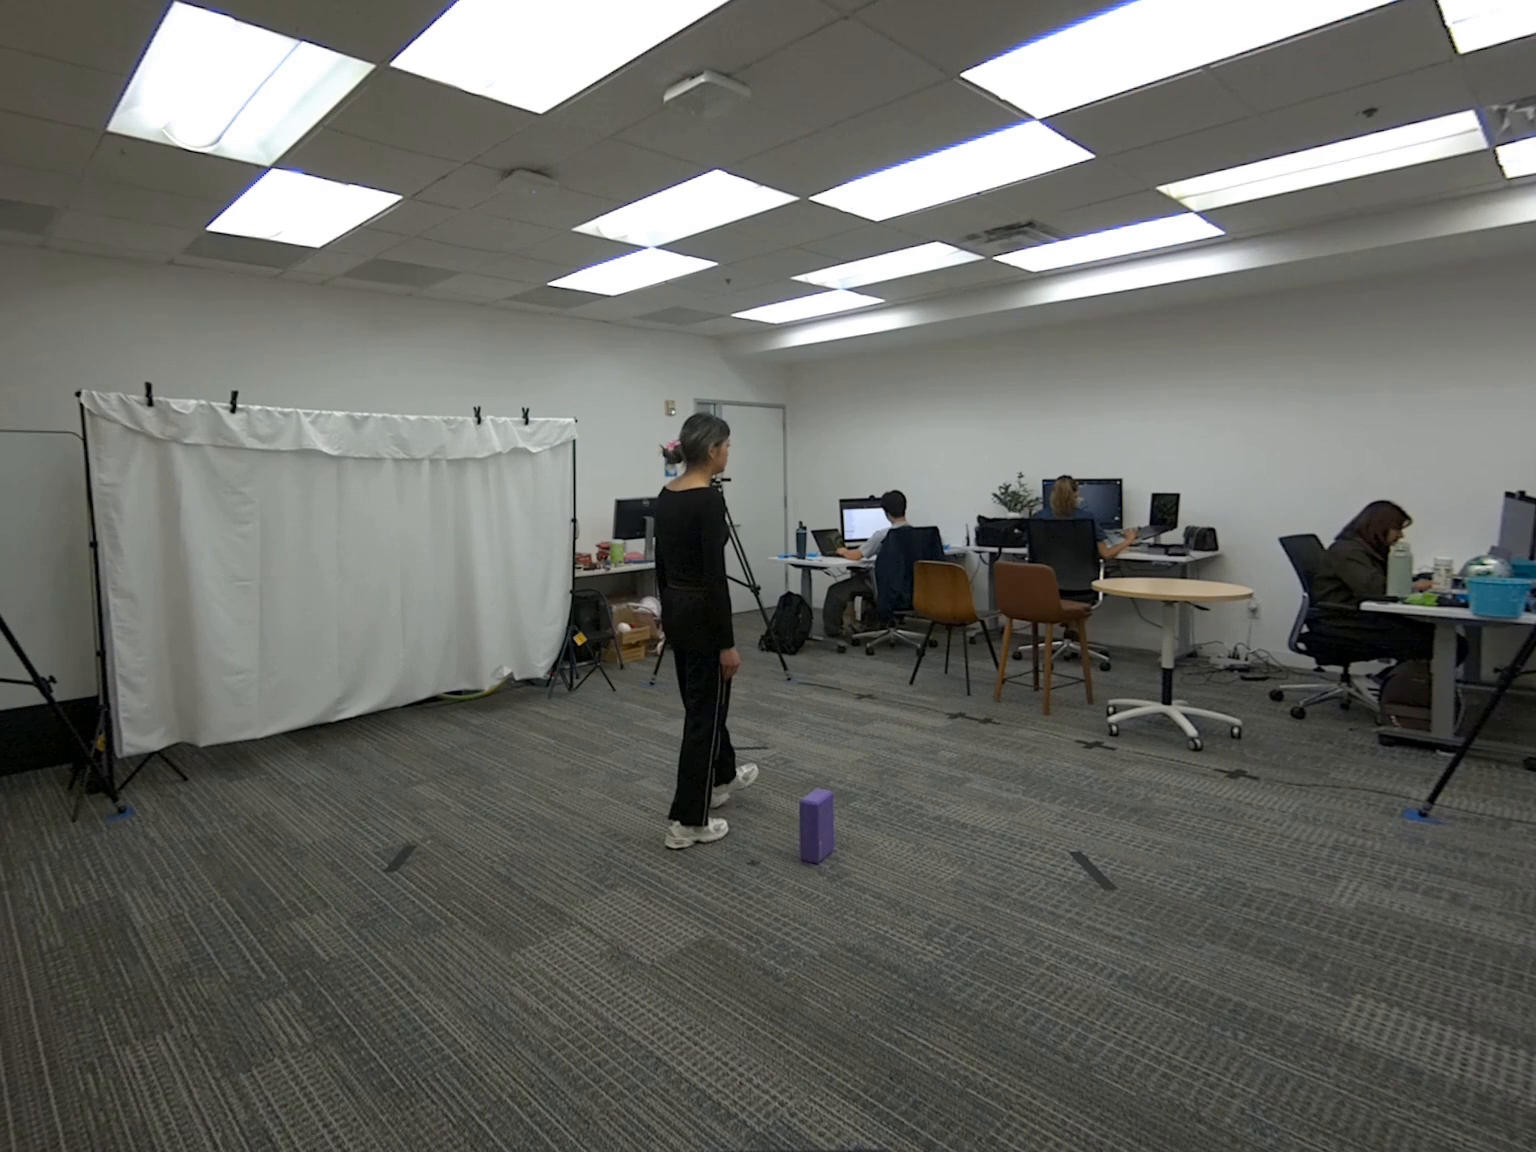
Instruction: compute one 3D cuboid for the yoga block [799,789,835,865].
[{"bbox_3d":[0.181,0.918,3.144,0.078,0.228,0.146,2,5,30],"label":"yoga block"}]
